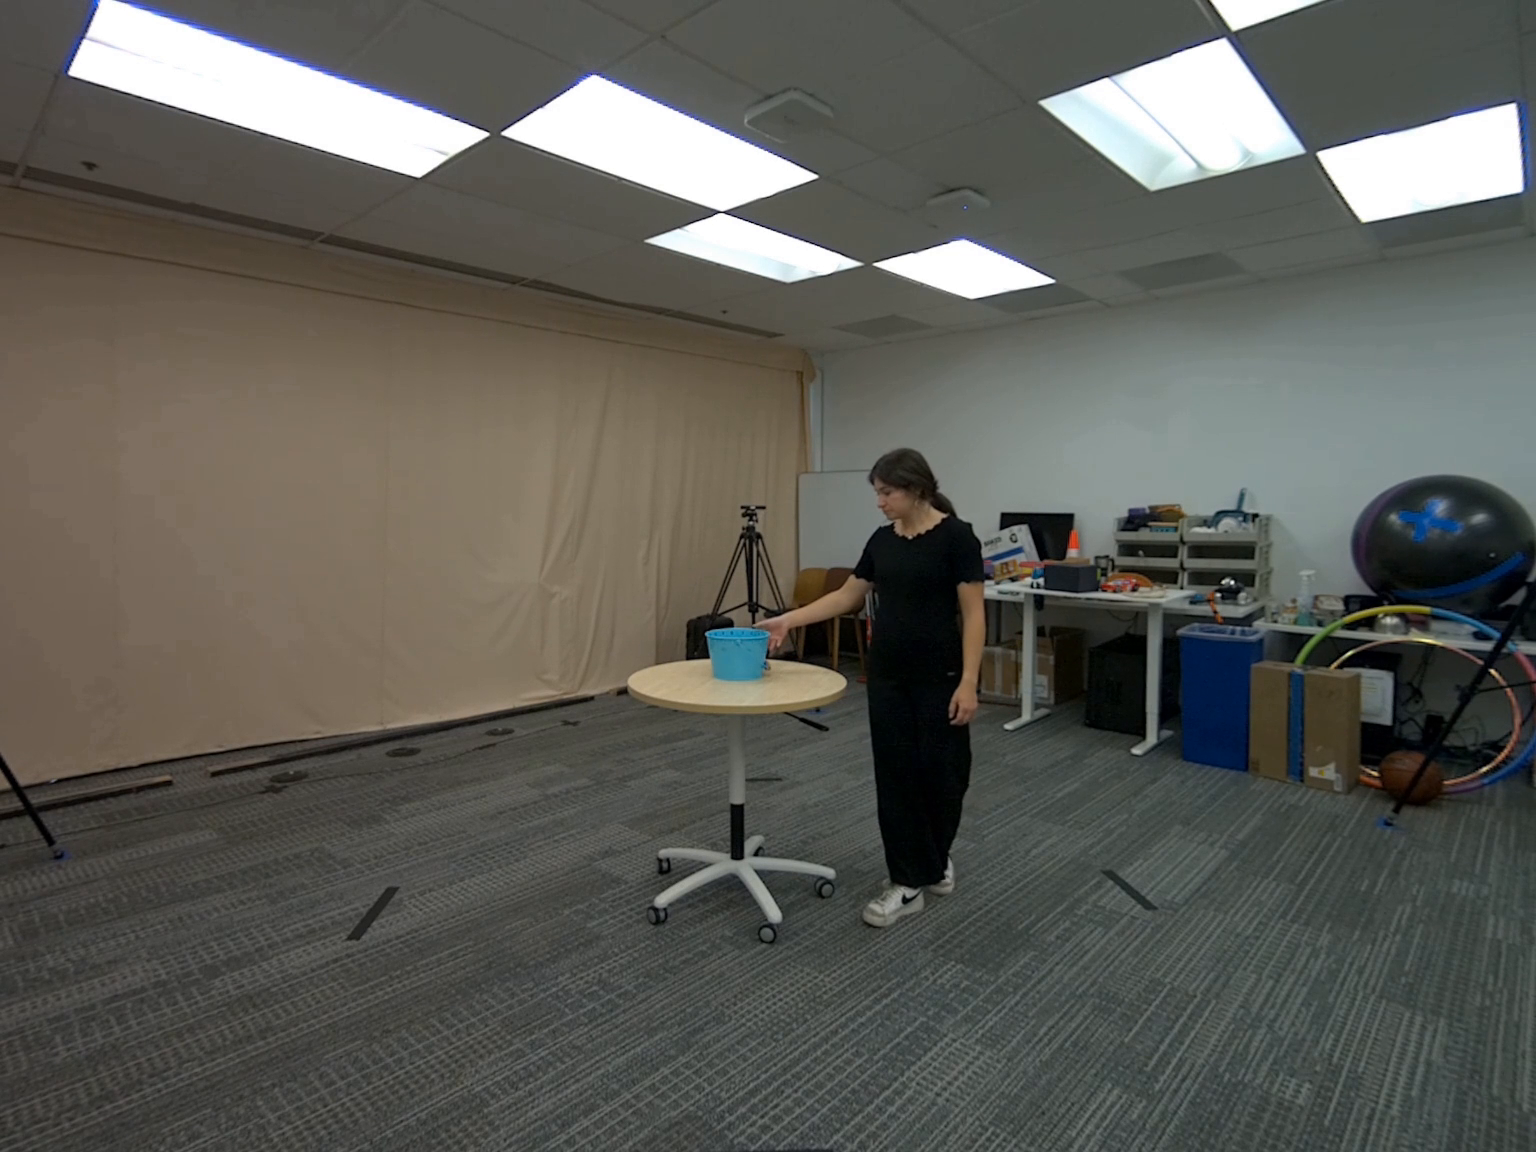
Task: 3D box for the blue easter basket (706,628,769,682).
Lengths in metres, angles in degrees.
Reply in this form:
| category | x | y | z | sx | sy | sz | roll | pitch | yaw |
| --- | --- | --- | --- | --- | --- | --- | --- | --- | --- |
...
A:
| category | x | y | z | sx | sy | sz | roll | pitch | yaw |
| --- | --- | --- | --- | --- | --- | --- | --- | --- | --- |
| blue easter basket | -0.095 | 0.285 | 3.016 | 0.243 | 0.155 | 0.244 | 0 | 3 | -2 |
